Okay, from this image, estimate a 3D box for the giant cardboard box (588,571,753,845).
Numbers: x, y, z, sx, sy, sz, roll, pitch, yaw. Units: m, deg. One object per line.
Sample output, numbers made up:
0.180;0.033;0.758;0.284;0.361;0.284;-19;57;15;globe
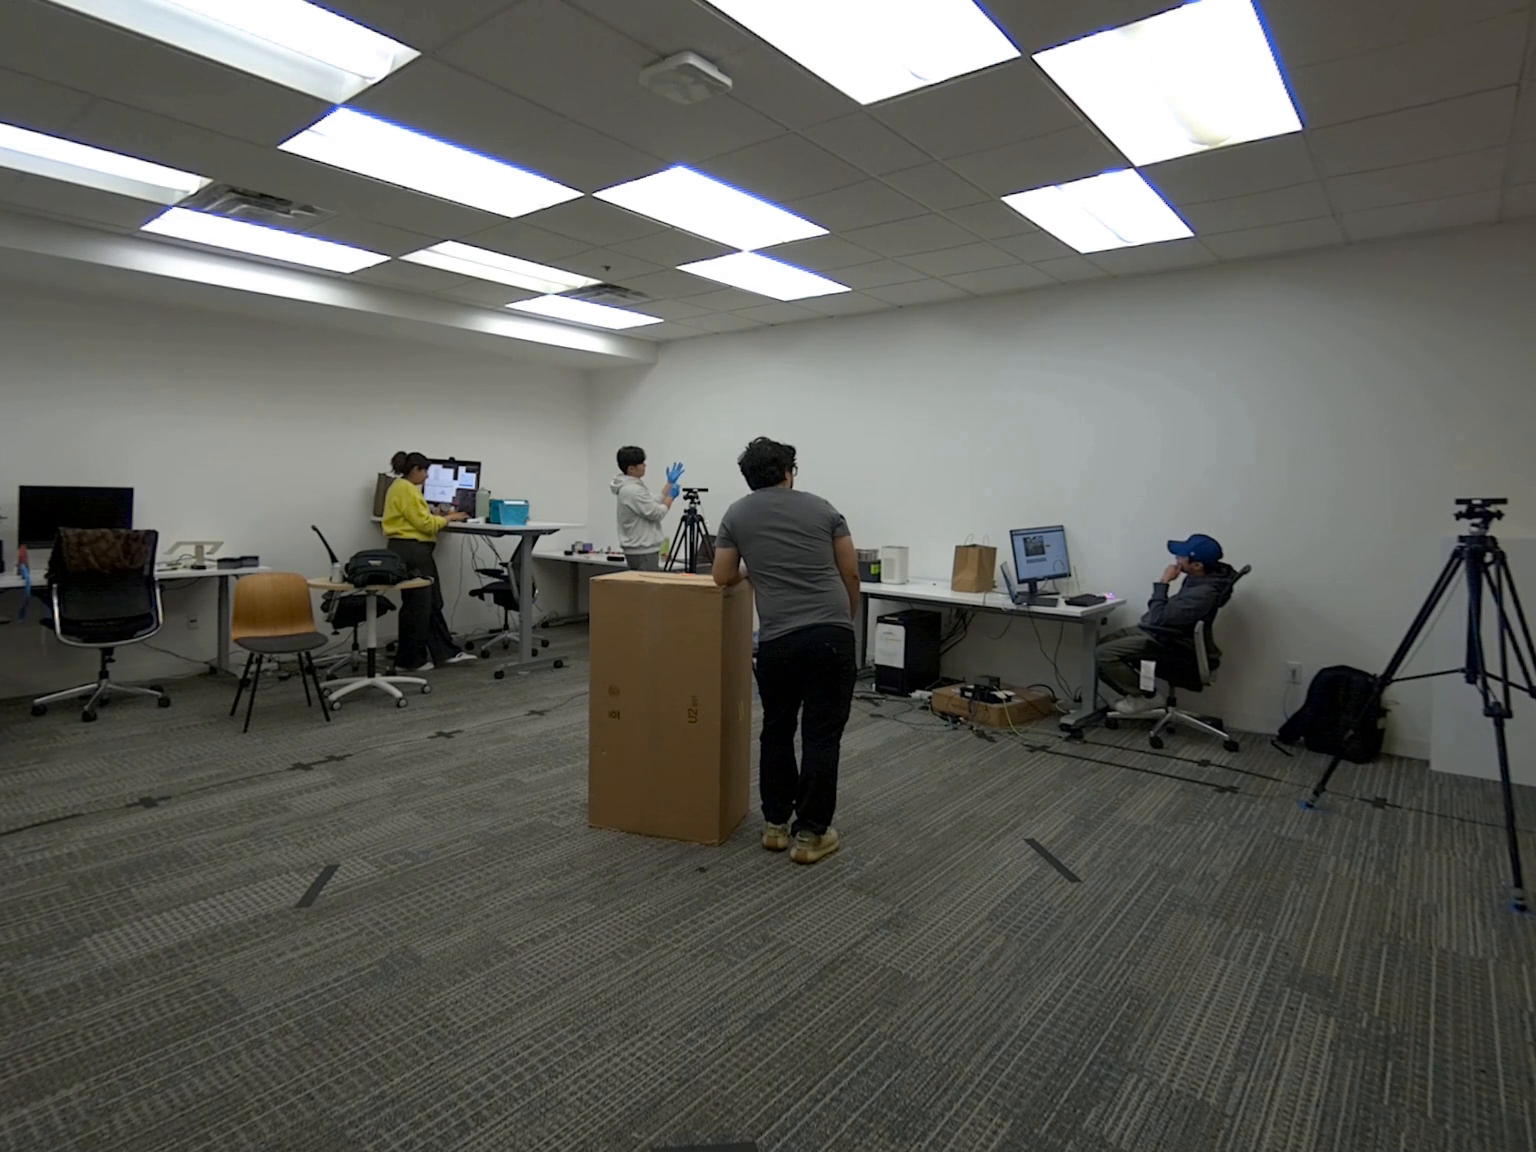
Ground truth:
-0.417;0.512;3.587;0.589;1.023;0.419;2;3;19;giant cardboard box
